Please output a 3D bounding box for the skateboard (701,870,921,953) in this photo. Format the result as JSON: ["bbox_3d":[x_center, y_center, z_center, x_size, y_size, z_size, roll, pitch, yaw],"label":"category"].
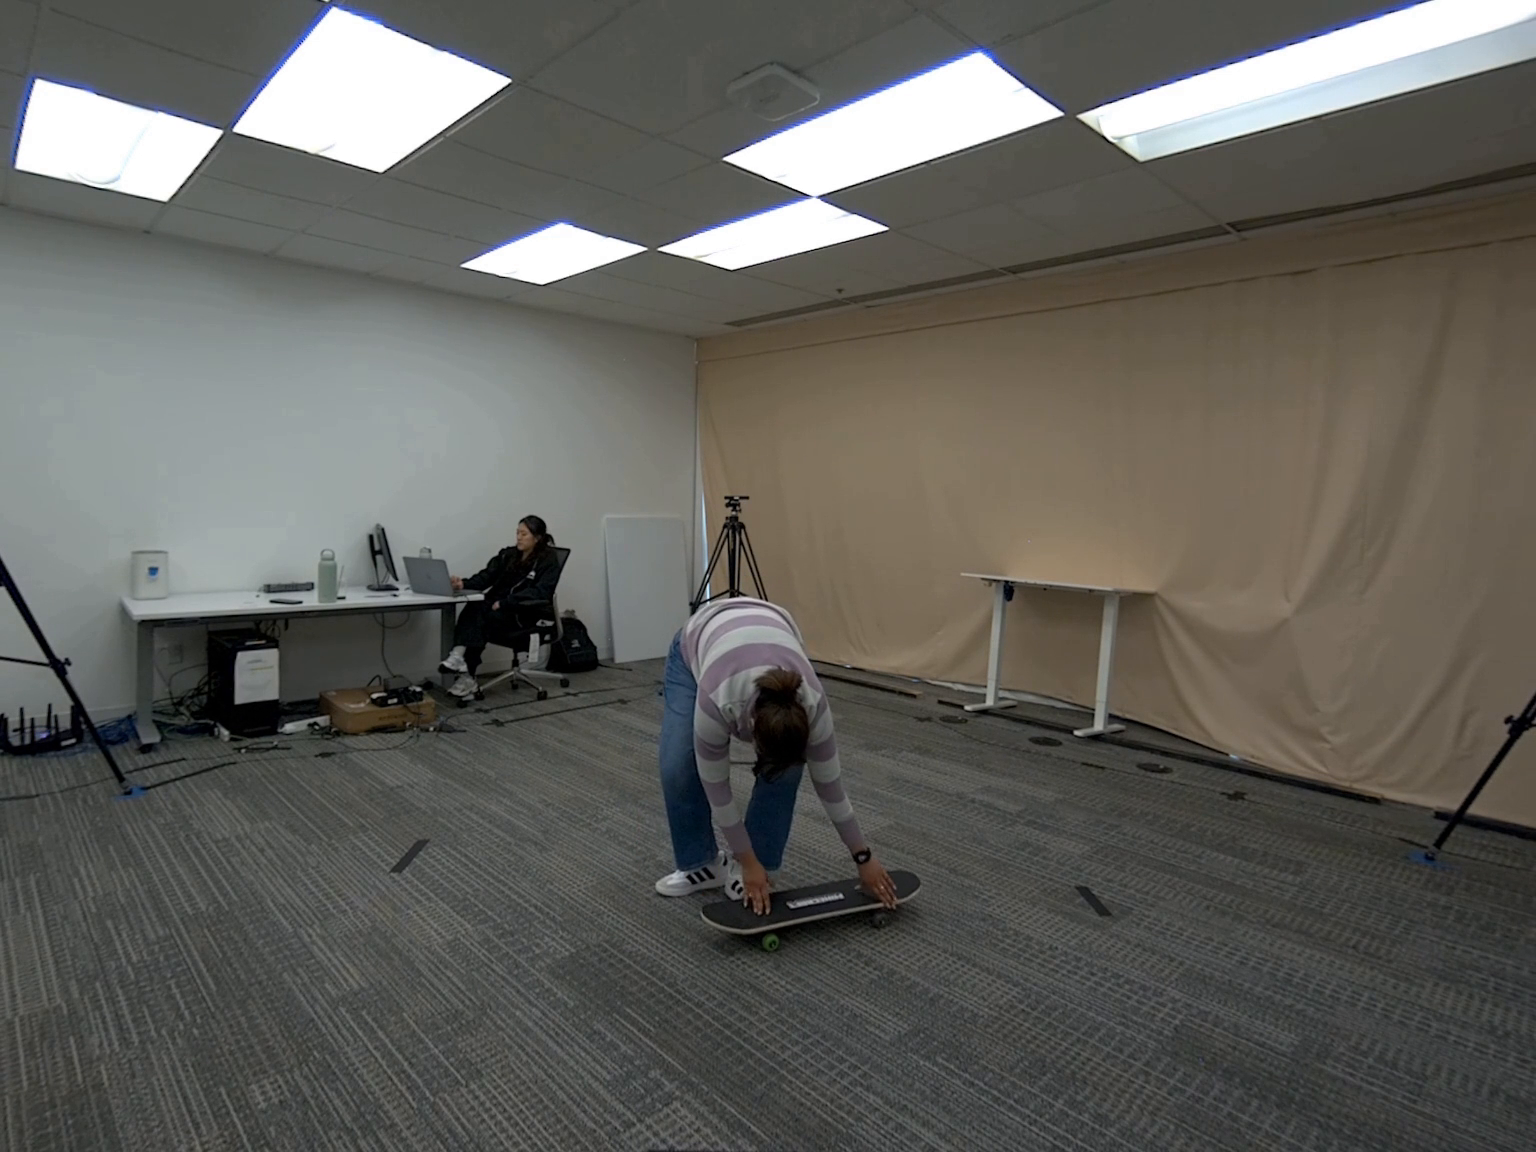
[{"bbox_3d":[0.137,1.086,2.728,0.772,0.110,0.197,0,7,-22],"label":"skateboard"}]
